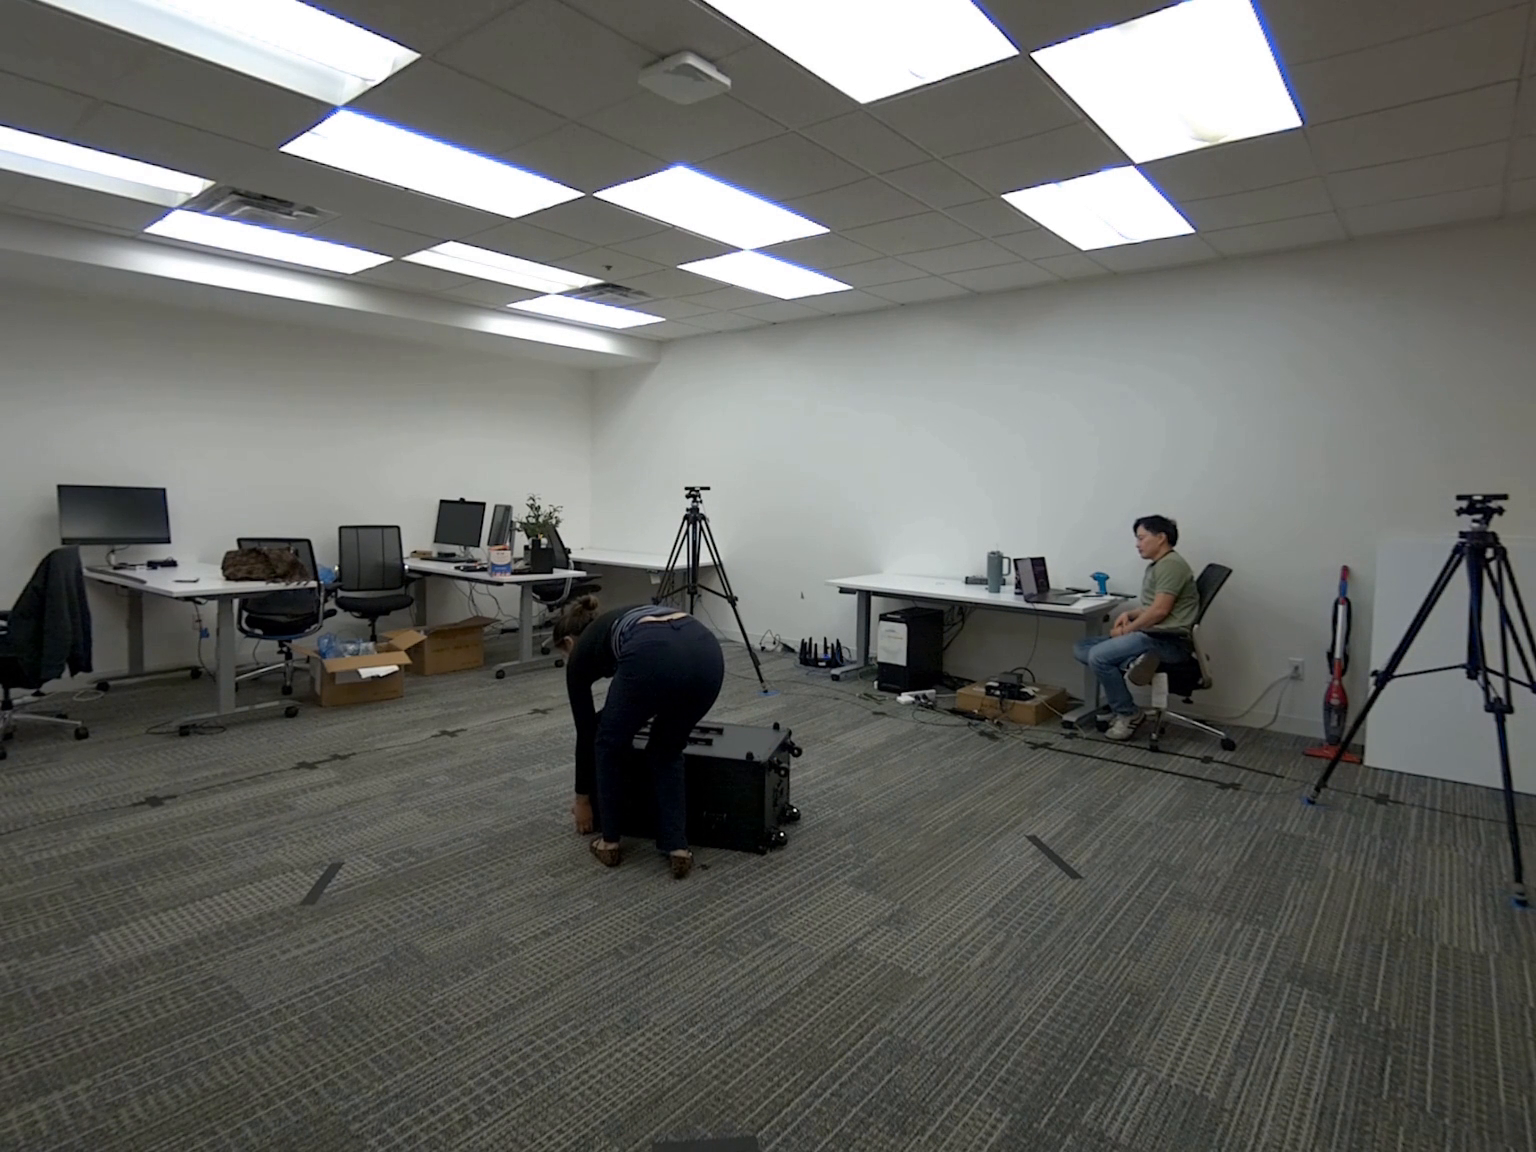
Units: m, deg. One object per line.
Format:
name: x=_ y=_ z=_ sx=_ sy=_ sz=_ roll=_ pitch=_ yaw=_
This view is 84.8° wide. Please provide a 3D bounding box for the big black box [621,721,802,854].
big black box: x=-0.302 y=0.823 z=3.545 sx=0.876 sy=0.395 sz=0.514 roll=4 pitch=4 yaw=15
